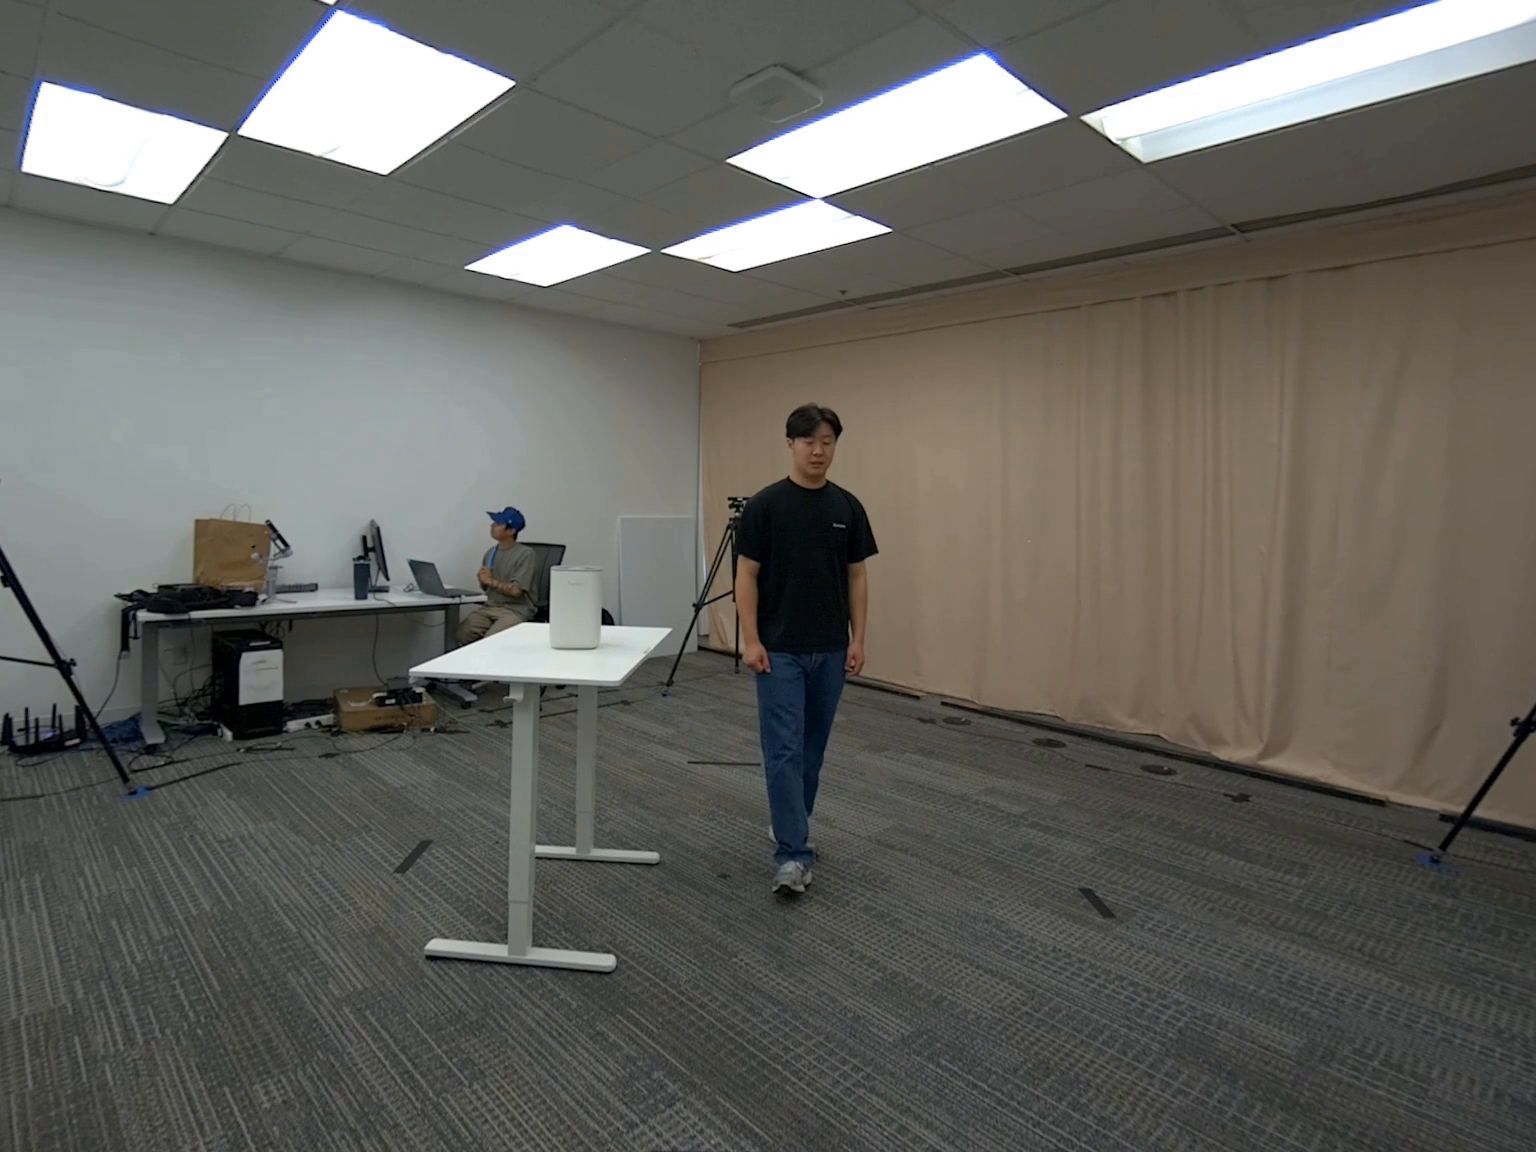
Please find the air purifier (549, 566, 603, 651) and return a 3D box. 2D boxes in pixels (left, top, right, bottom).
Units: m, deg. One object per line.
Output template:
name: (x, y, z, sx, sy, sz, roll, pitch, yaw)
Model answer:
air purifier: (-0.660, 0.106, 2.836, 0.170, 0.265, 0.172, 0, 2, -6)
